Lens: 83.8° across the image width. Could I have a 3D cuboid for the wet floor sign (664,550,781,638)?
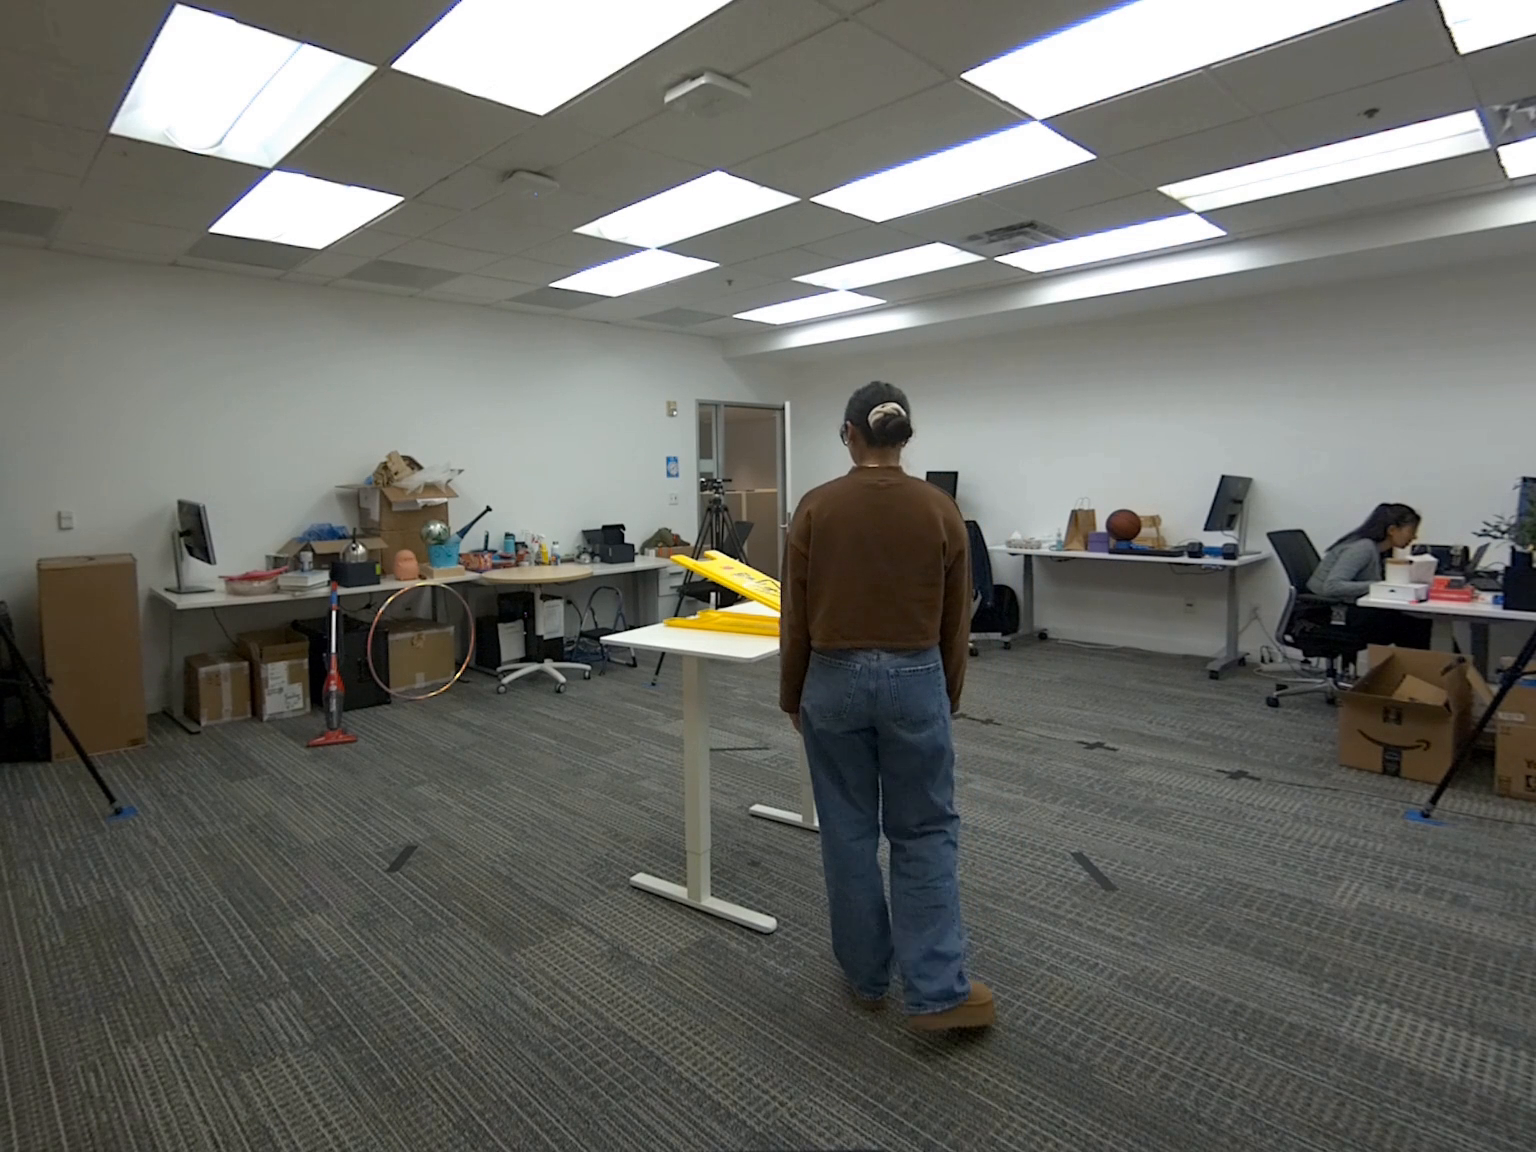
[{"bbox_3d":[-0.009,0.112,2.954,0.666,0.287,0.276,13,12,31],"label":"wet floor sign"}]
